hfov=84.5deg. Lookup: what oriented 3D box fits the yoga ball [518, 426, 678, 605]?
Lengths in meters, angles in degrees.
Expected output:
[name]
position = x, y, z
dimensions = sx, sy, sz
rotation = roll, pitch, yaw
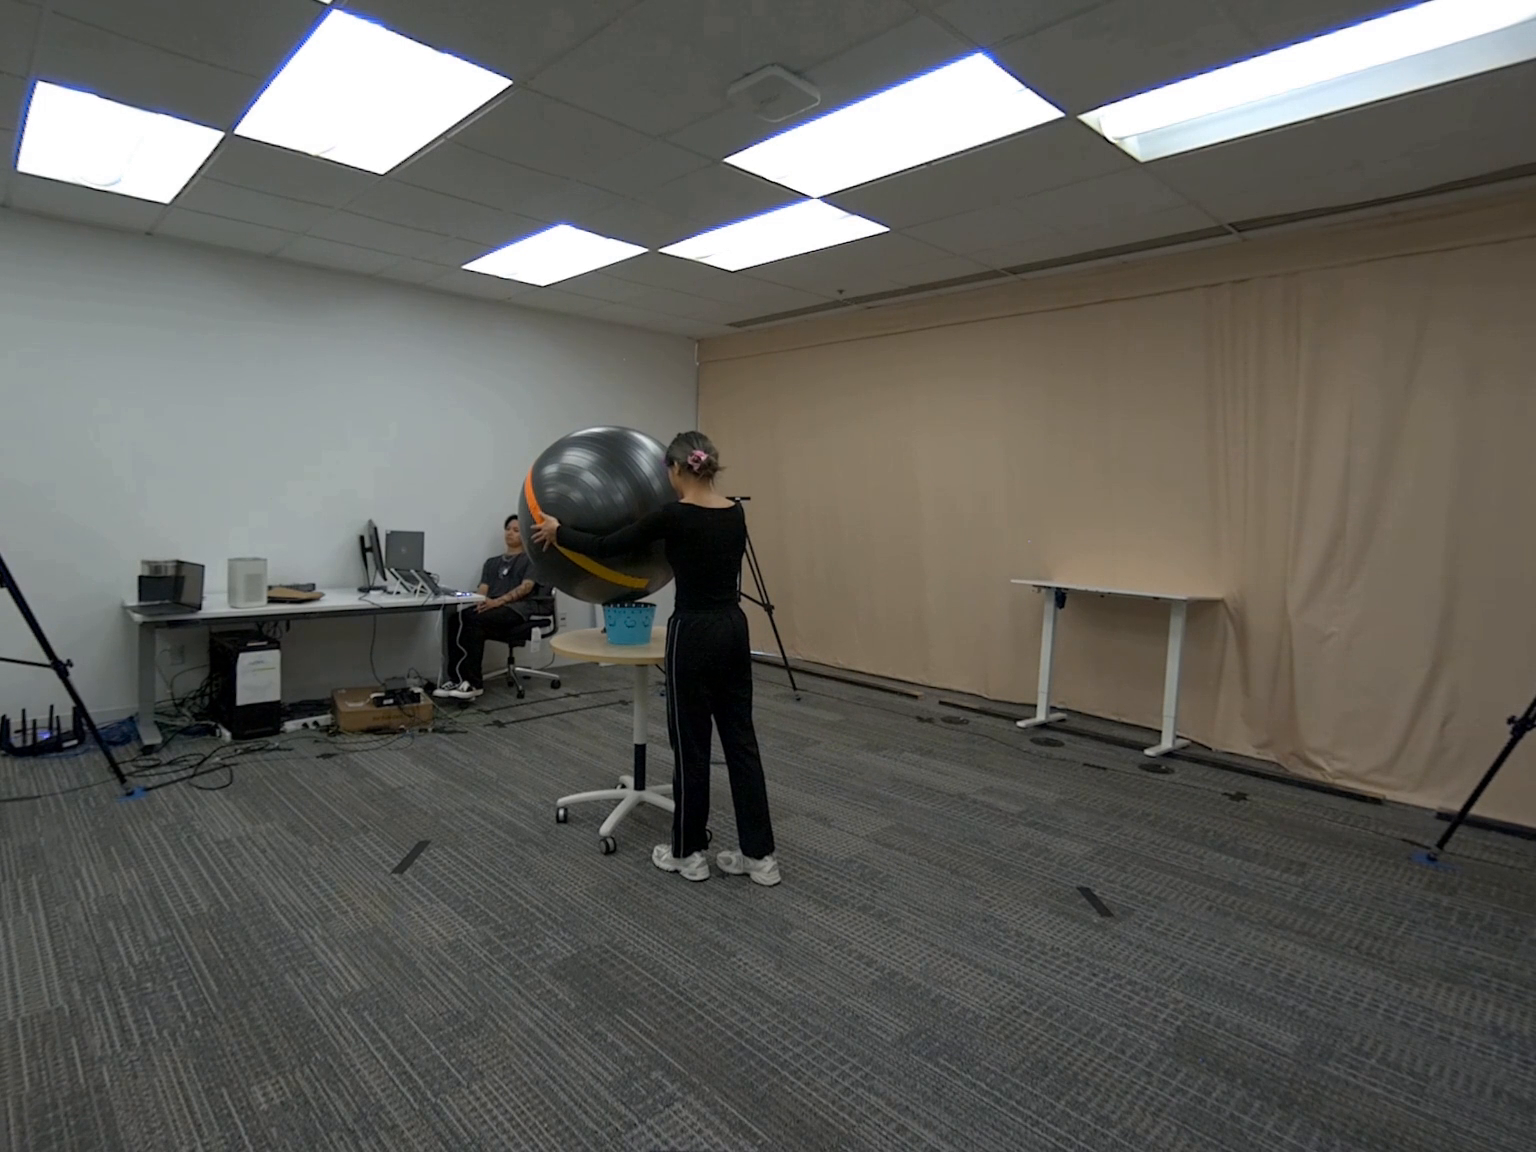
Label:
[yoga ball]
position = -0.680, -0.254, 3.587
dimensions = 0.757, 0.756, 0.761
rotation = 1, 4, -1
